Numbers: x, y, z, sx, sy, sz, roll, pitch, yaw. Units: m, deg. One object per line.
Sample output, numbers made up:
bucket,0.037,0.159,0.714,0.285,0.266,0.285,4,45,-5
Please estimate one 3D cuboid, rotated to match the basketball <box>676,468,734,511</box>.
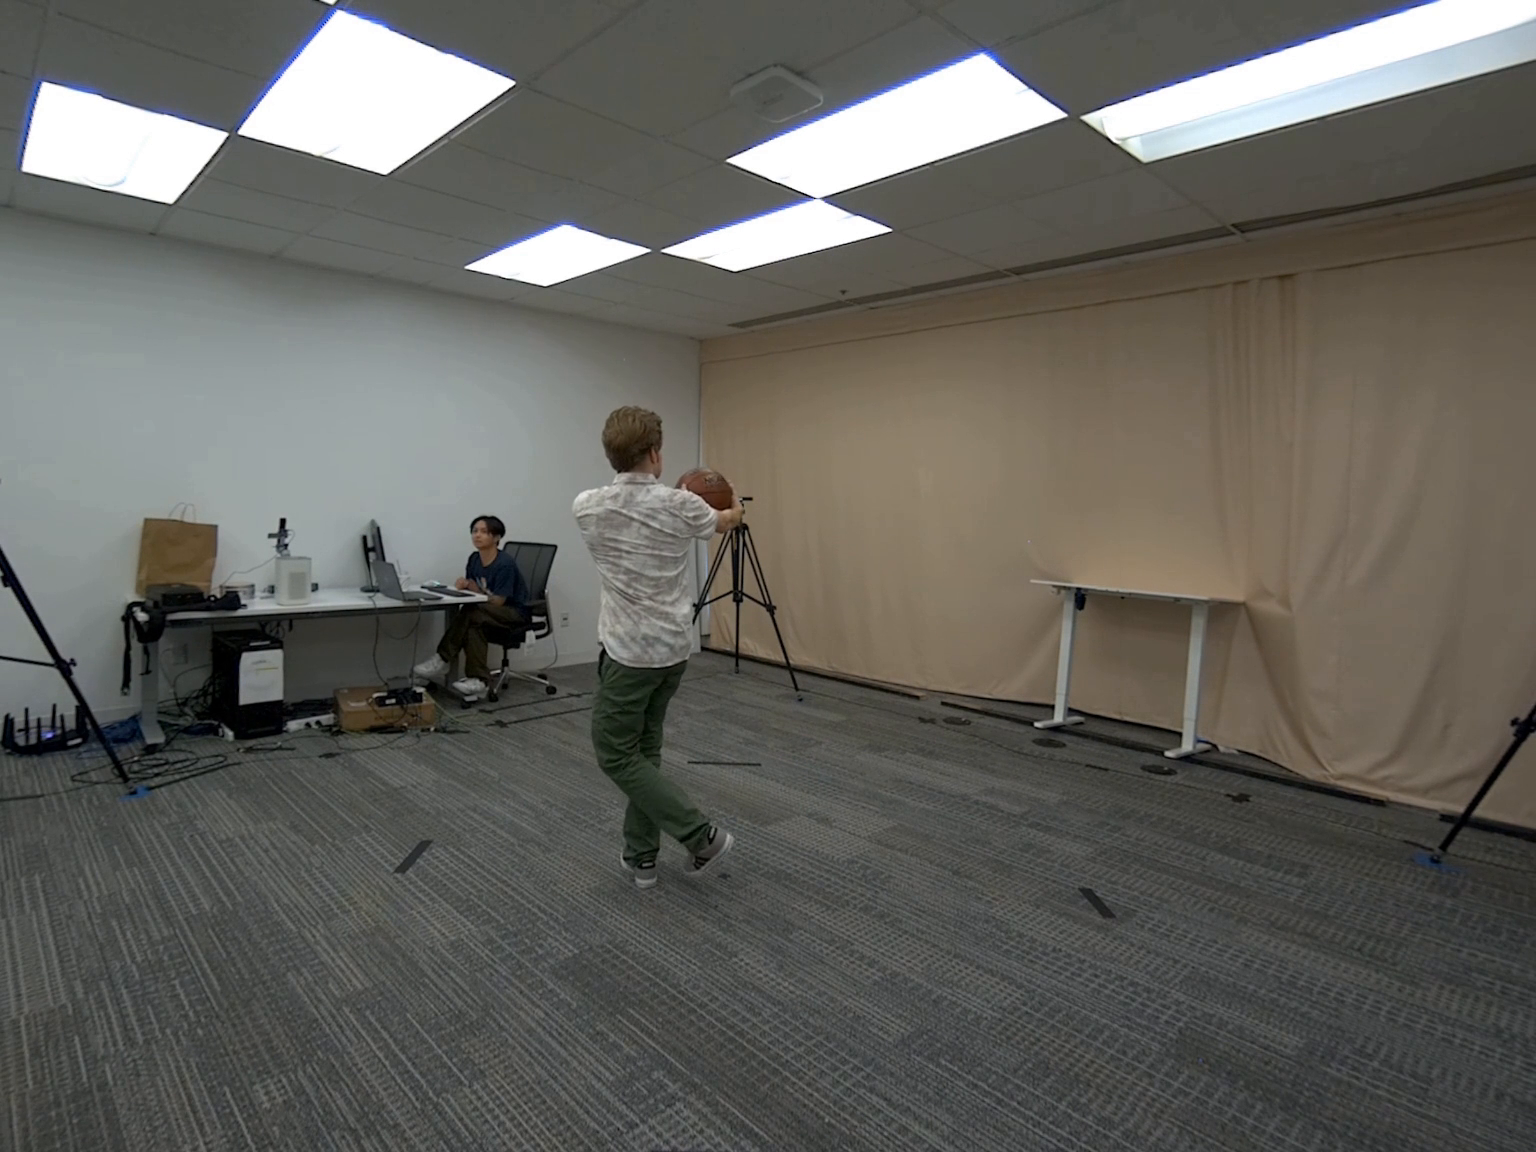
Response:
basketball,-0.275,-0.331,3.494,0.236,0.235,0.237,1,4,-1
